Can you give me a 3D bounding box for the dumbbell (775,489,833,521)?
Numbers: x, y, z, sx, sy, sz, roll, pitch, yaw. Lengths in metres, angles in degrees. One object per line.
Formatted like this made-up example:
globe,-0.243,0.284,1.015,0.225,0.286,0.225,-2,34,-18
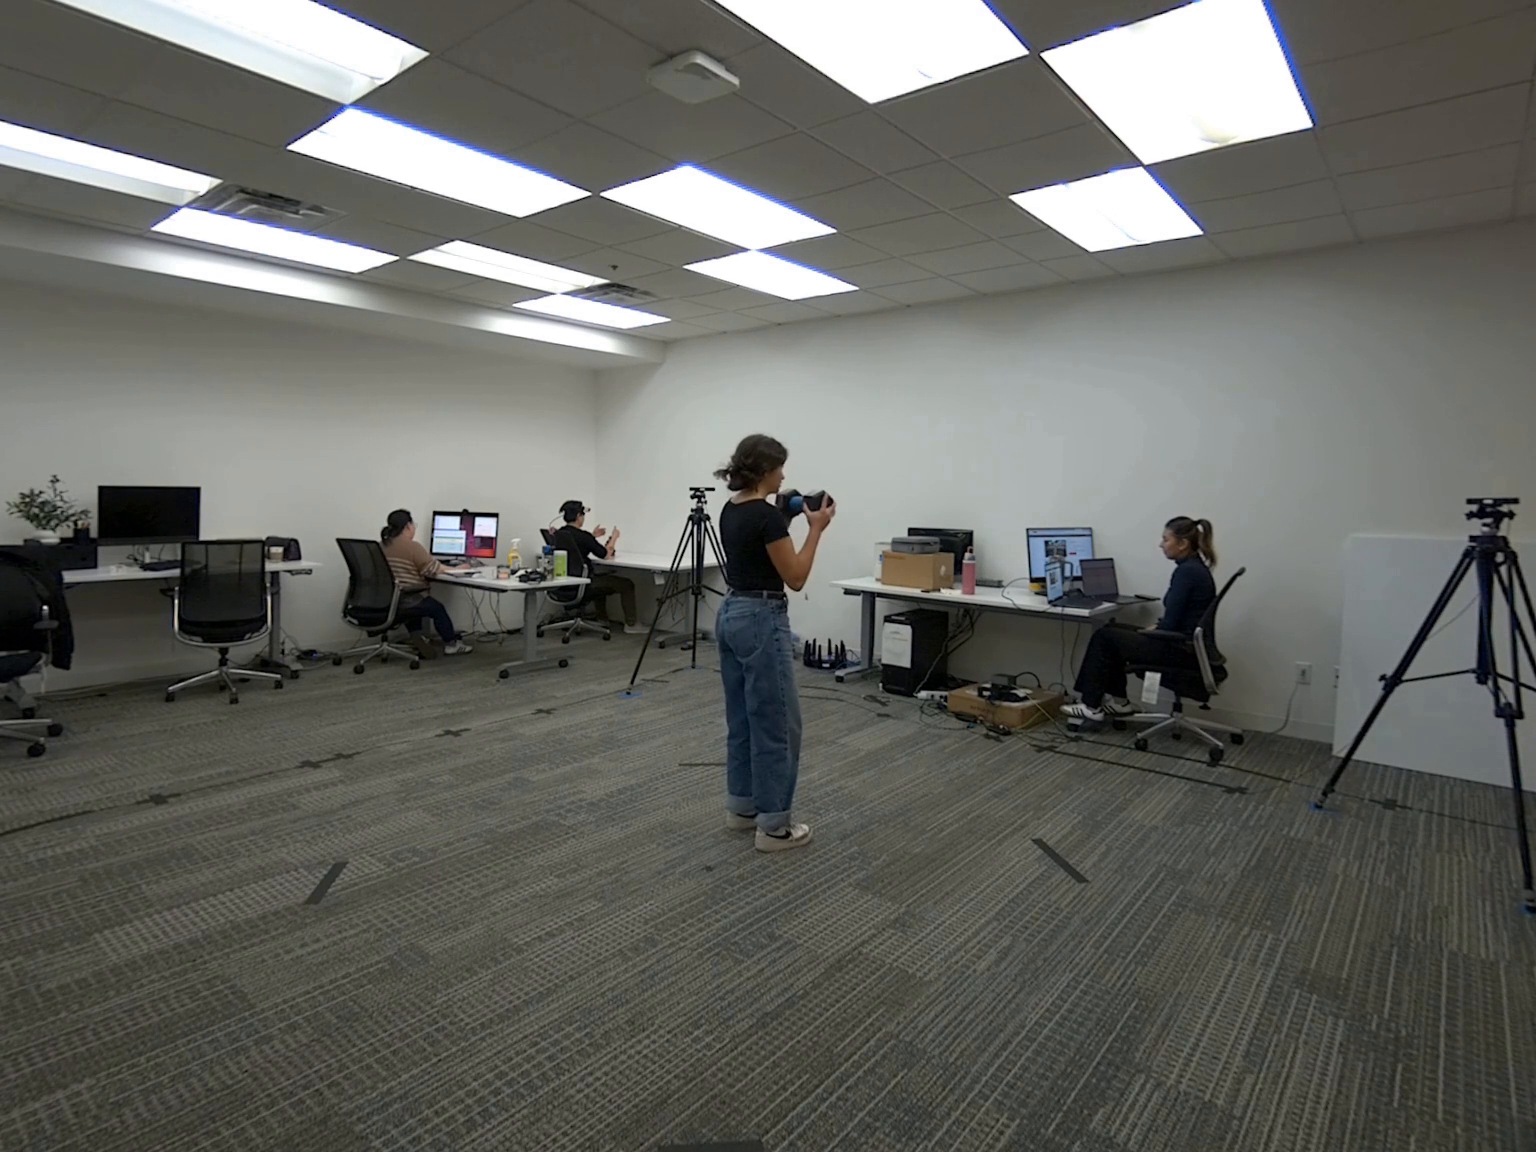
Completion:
dumbbell,0.134,-0.277,3.439,0.121,0.107,0.303,-23,17,-24
